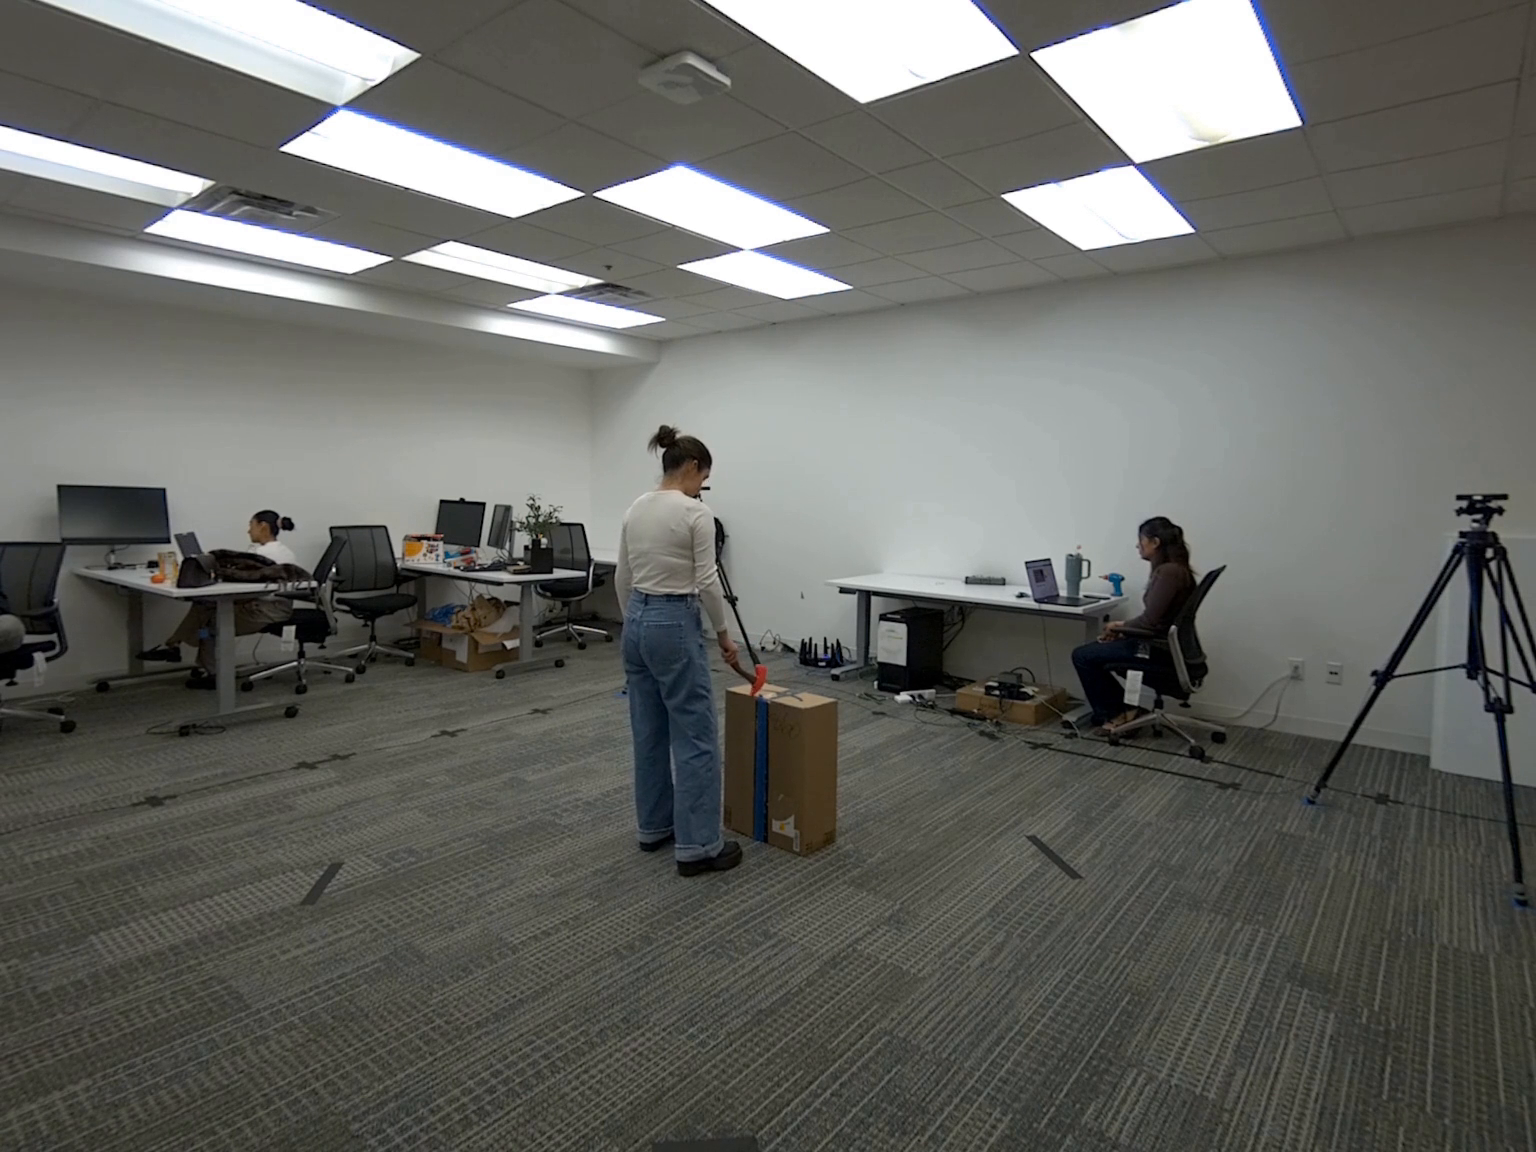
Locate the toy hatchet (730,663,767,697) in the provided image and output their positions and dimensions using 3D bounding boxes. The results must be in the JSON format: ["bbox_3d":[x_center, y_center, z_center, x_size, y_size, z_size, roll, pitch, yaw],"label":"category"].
[{"bbox_3d":[-0.080,0.347,3.336,0.131,0.260,0.031,-47,38,-20],"label":"toy hatchet"}]
